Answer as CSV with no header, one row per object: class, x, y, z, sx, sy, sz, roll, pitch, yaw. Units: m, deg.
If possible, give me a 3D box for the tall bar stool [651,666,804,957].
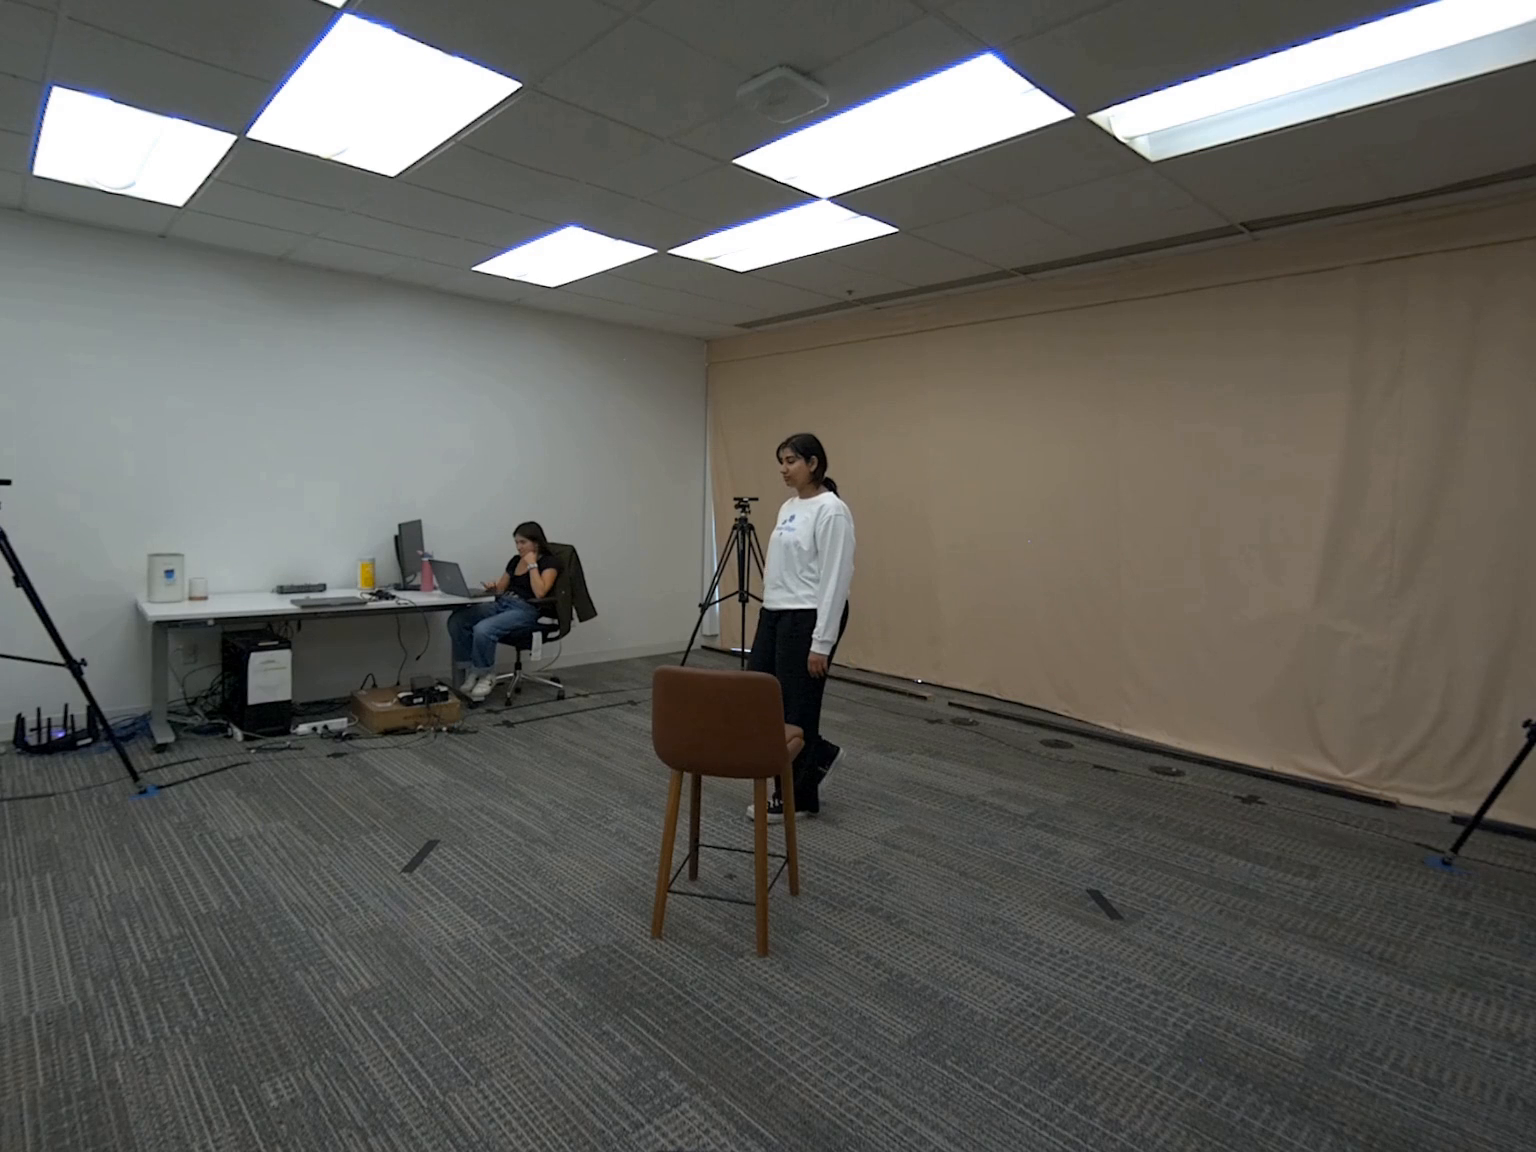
tall bar stool,-0.137,0.702,2.791,0.462,0.886,0.463,2,5,15
